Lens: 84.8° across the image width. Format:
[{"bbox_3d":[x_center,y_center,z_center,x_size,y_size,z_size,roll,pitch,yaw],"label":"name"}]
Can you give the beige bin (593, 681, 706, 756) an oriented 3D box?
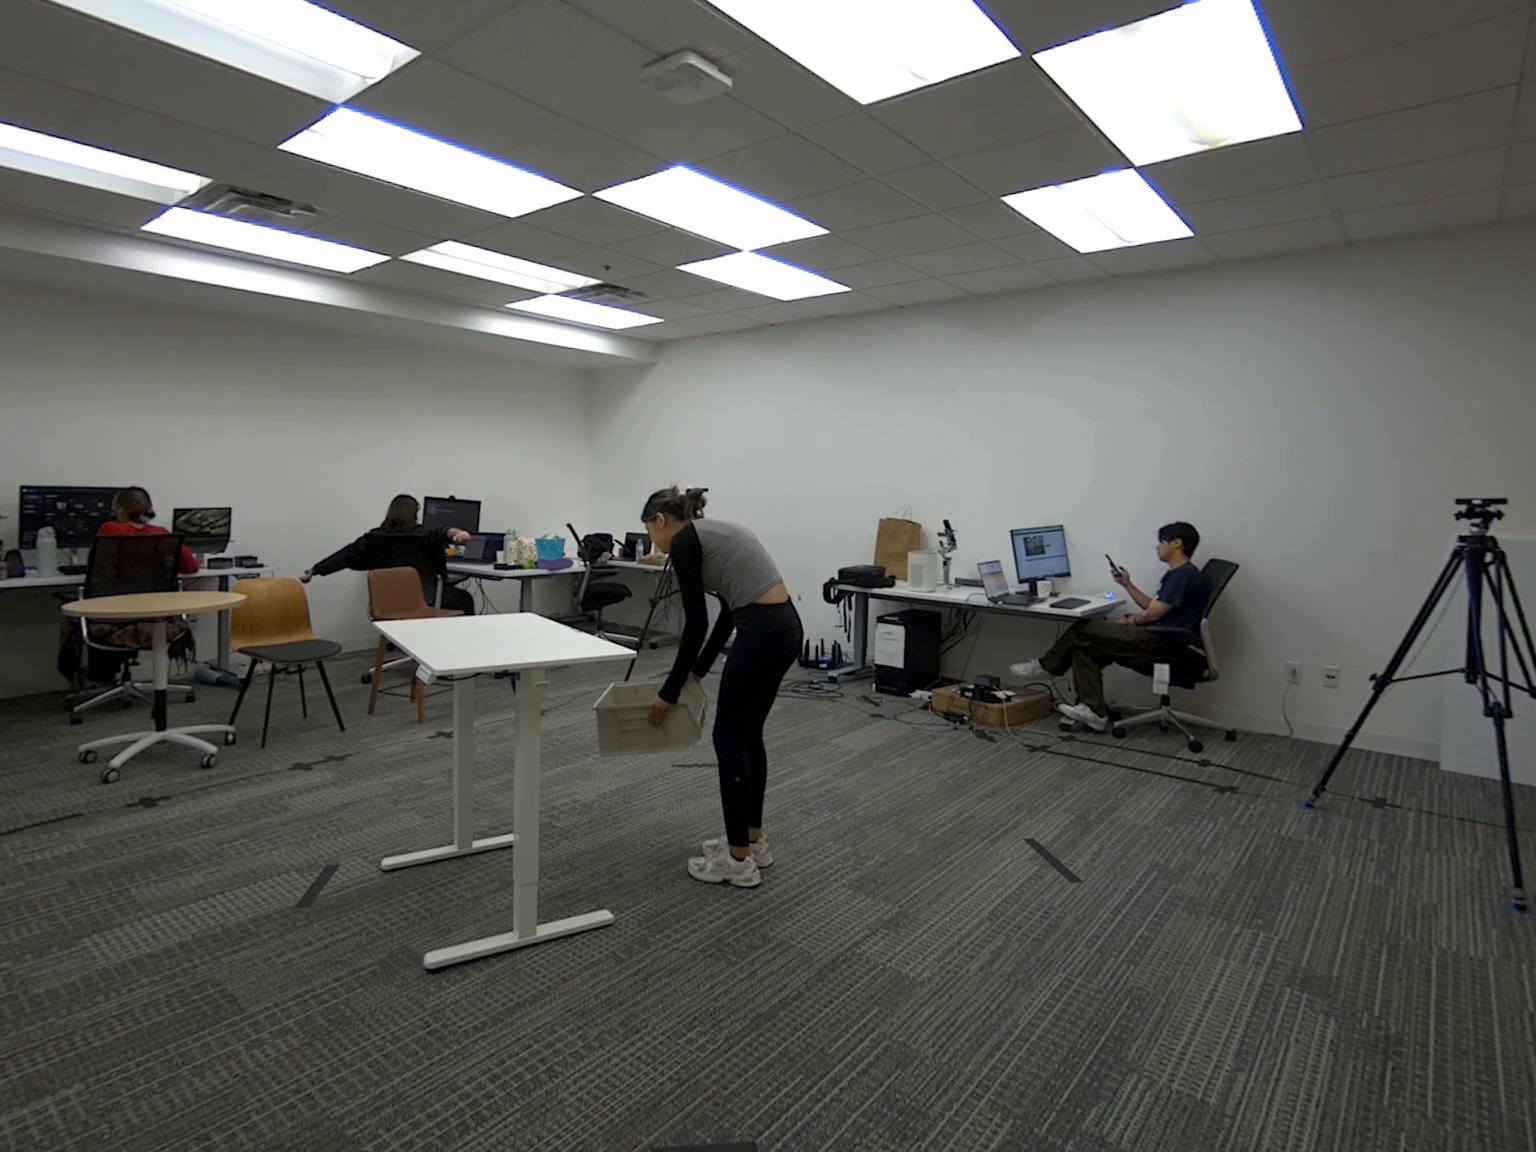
[{"bbox_3d":[-0.440,0.526,3.216,0.378,0.188,0.423,-6,5,1],"label":"beige bin"}]
